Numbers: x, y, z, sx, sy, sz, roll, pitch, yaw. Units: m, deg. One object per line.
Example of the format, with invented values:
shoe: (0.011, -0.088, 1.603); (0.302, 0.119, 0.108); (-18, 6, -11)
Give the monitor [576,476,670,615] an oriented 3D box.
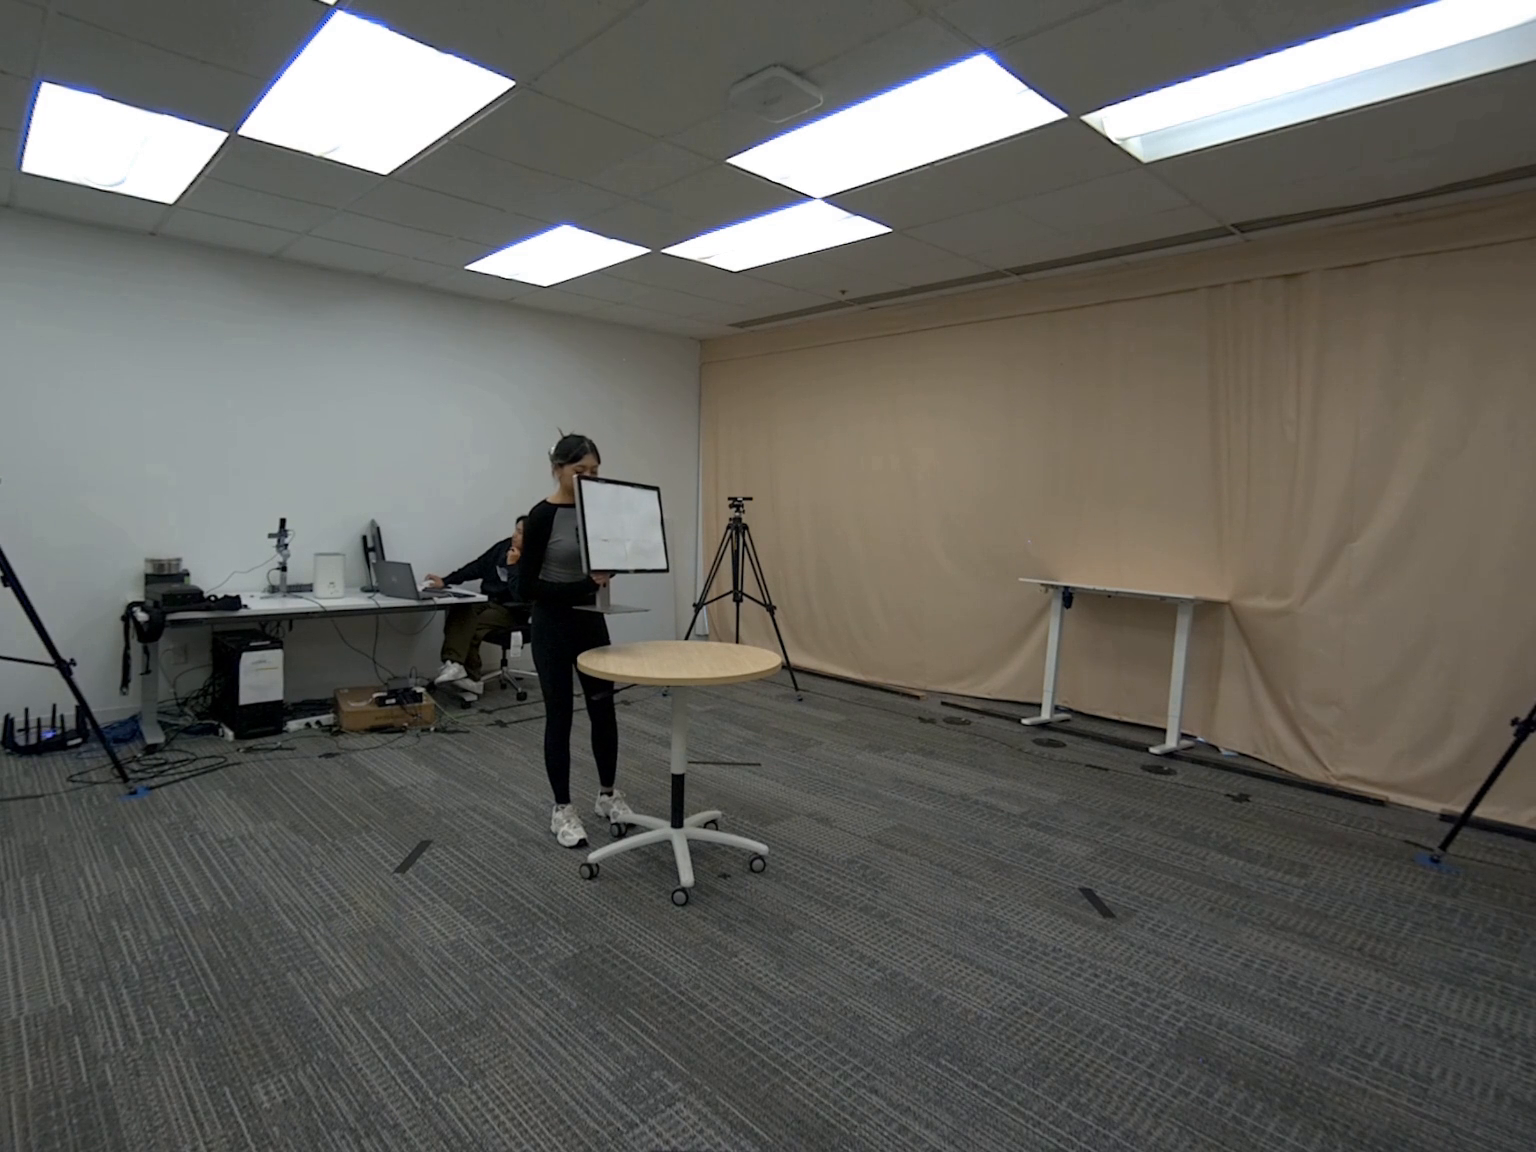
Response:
monitor: (-0.604, -0.111, 3.281); (0.191, 0.522, 0.529); (6, 3, 23)
